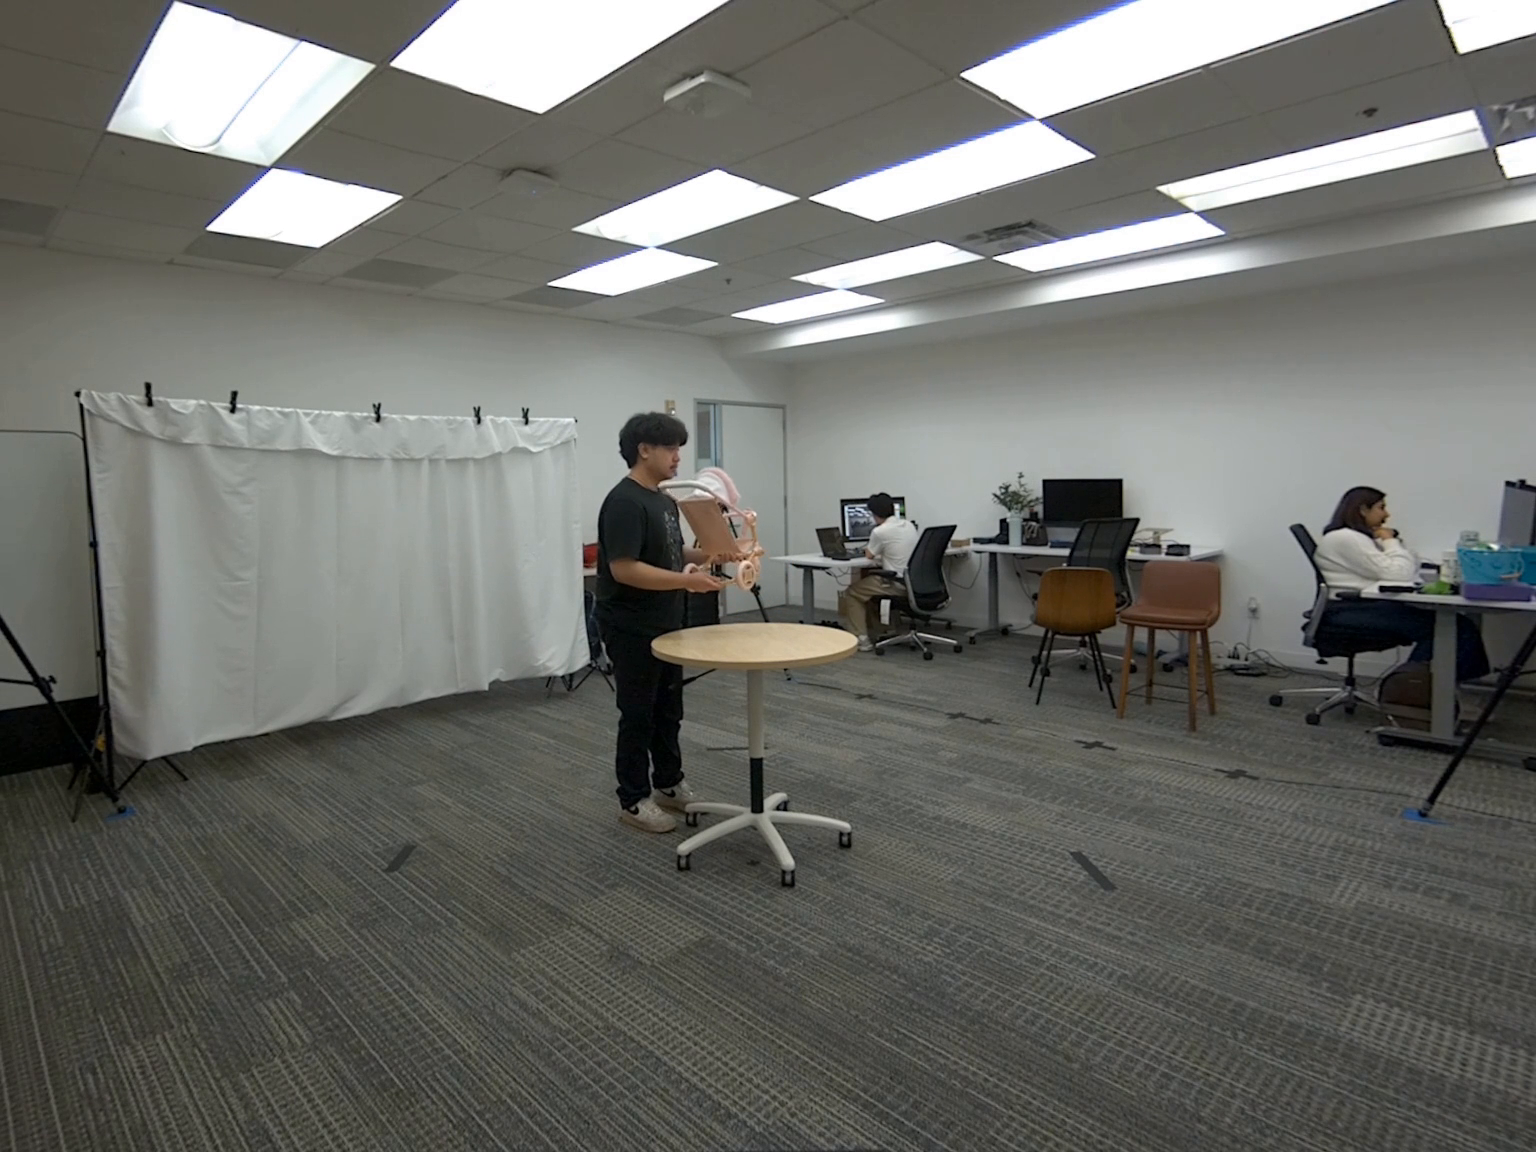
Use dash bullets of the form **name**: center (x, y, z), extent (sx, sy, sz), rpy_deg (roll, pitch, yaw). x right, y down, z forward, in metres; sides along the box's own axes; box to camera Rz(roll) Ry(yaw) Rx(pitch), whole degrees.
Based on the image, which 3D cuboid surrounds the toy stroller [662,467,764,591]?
- **toy stroller**: center (-0.173, -0.182, 3.284), extent (0.289, 0.523, 0.339), rpy_deg (-2, 26, 37)
